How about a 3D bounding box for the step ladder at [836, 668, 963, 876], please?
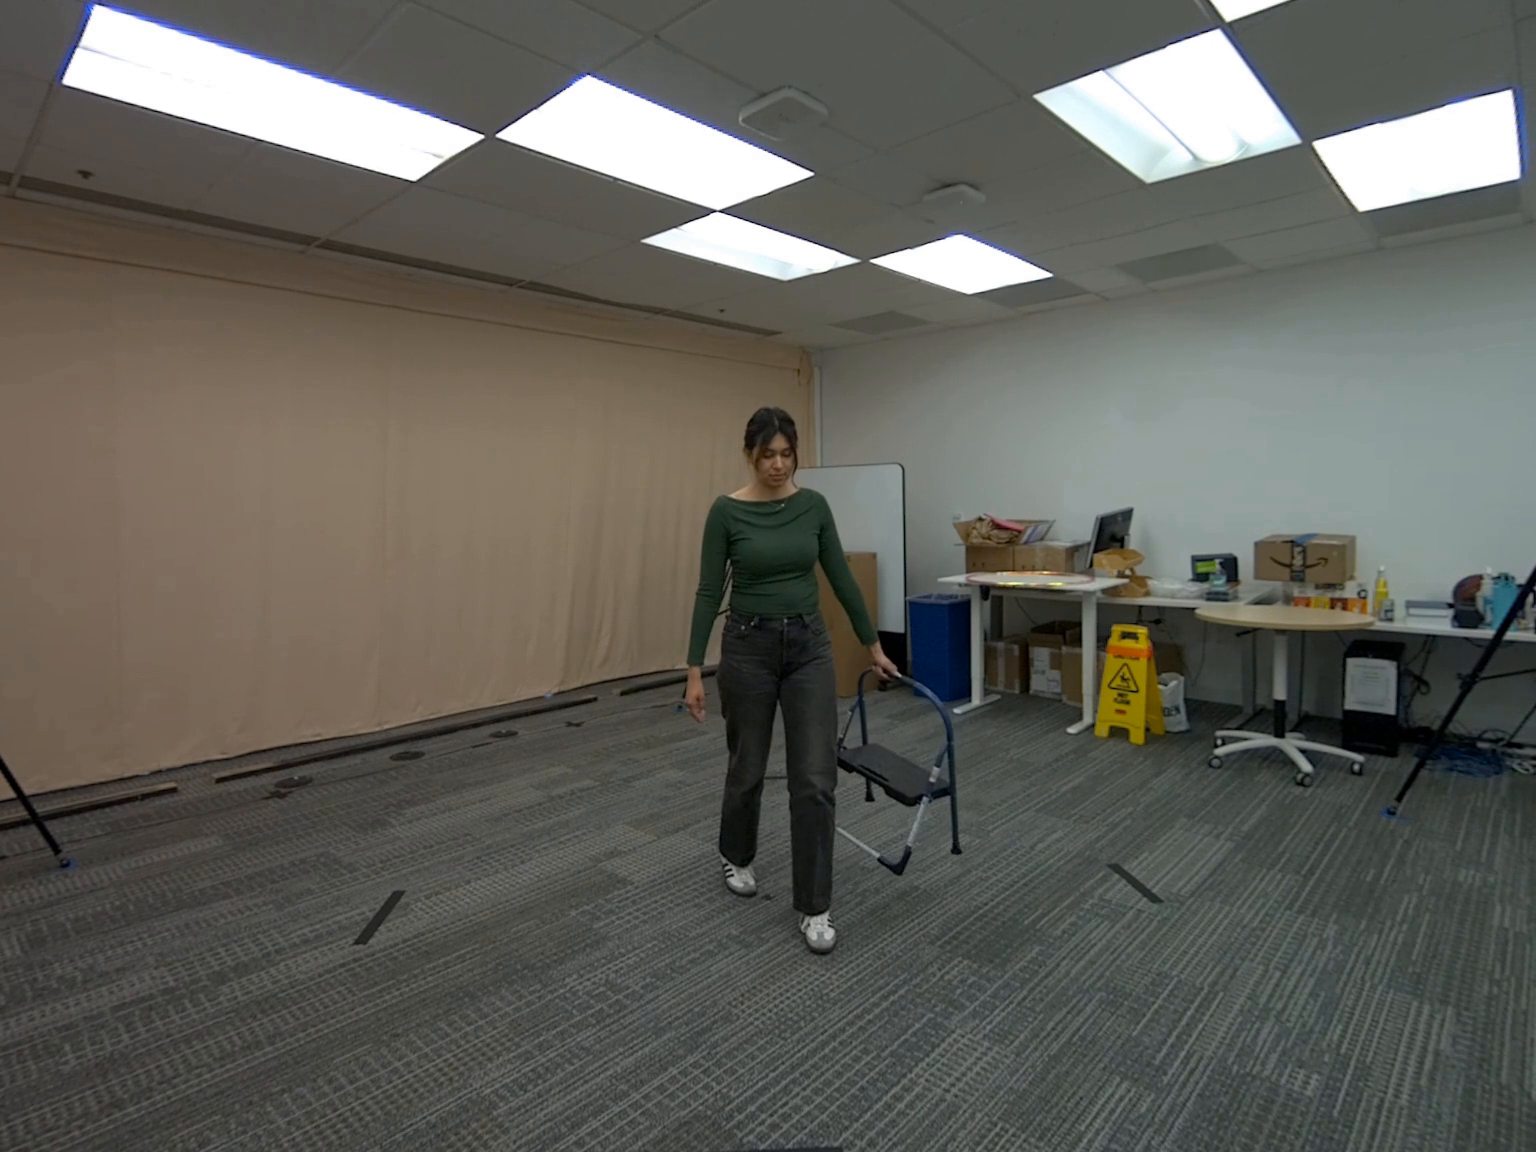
[{"bbox_3d":[0.461,0.624,2.926,0.338,0.603,0.446,-3,16,-43],"label":"step ladder"}]
